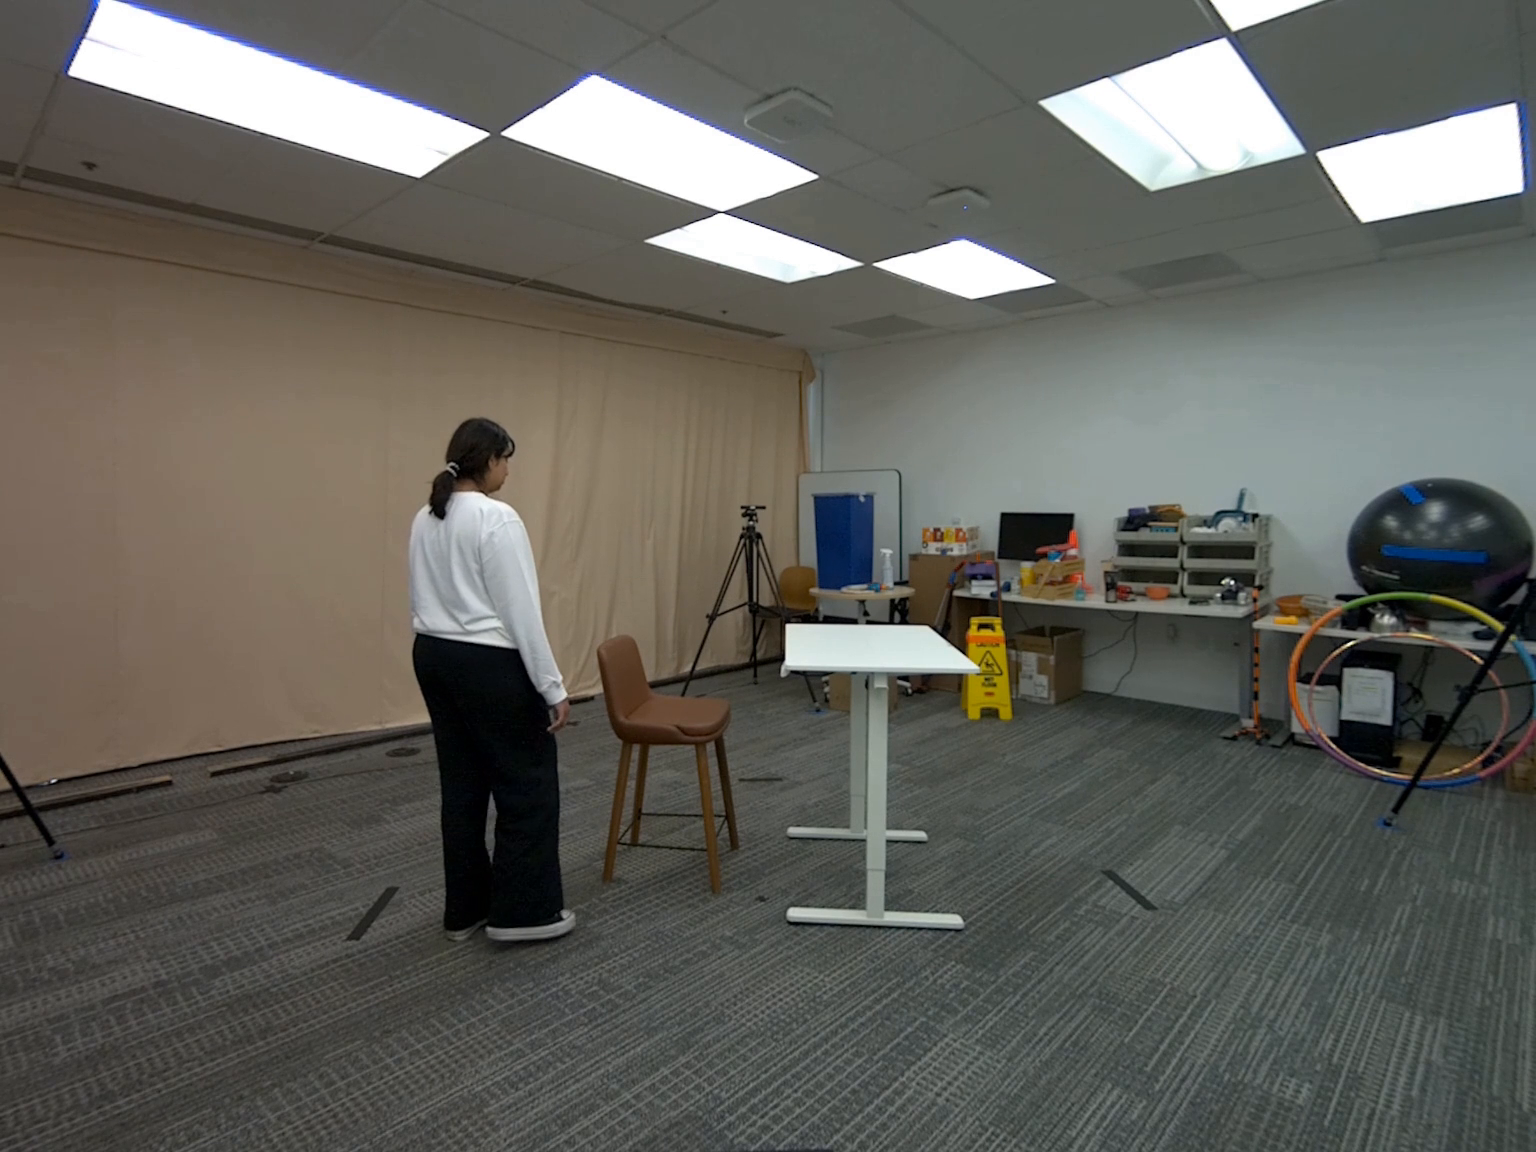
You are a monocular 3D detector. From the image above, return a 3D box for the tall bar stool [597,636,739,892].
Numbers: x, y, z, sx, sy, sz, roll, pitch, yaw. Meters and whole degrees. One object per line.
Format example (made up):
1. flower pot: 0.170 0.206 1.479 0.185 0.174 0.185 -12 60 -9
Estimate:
1. tall bar stool: -0.372 0.690 3.245 0.473 0.888 0.452 -2 2 11
